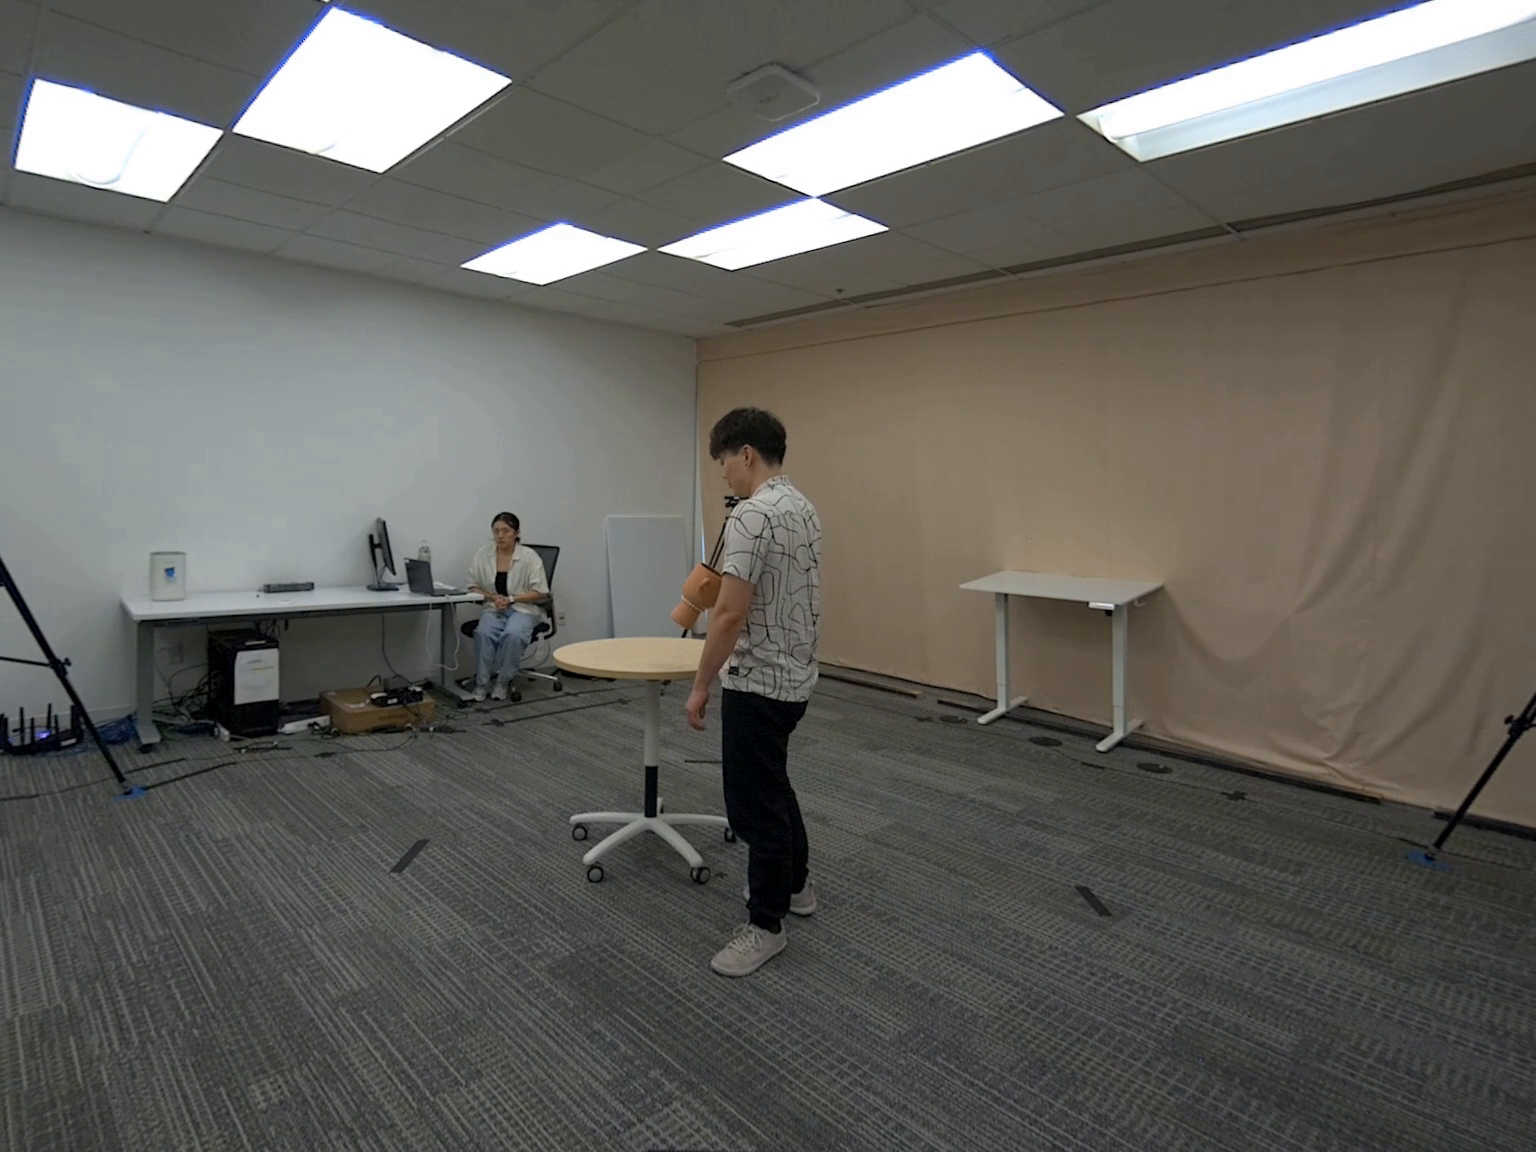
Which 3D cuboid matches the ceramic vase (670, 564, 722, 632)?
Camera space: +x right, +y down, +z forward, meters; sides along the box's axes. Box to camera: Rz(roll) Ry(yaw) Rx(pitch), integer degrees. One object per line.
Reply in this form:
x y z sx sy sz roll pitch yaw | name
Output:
-0.258 0.077 2.996 0.154 0.219 0.139 26 9 -45 | ceramic vase
